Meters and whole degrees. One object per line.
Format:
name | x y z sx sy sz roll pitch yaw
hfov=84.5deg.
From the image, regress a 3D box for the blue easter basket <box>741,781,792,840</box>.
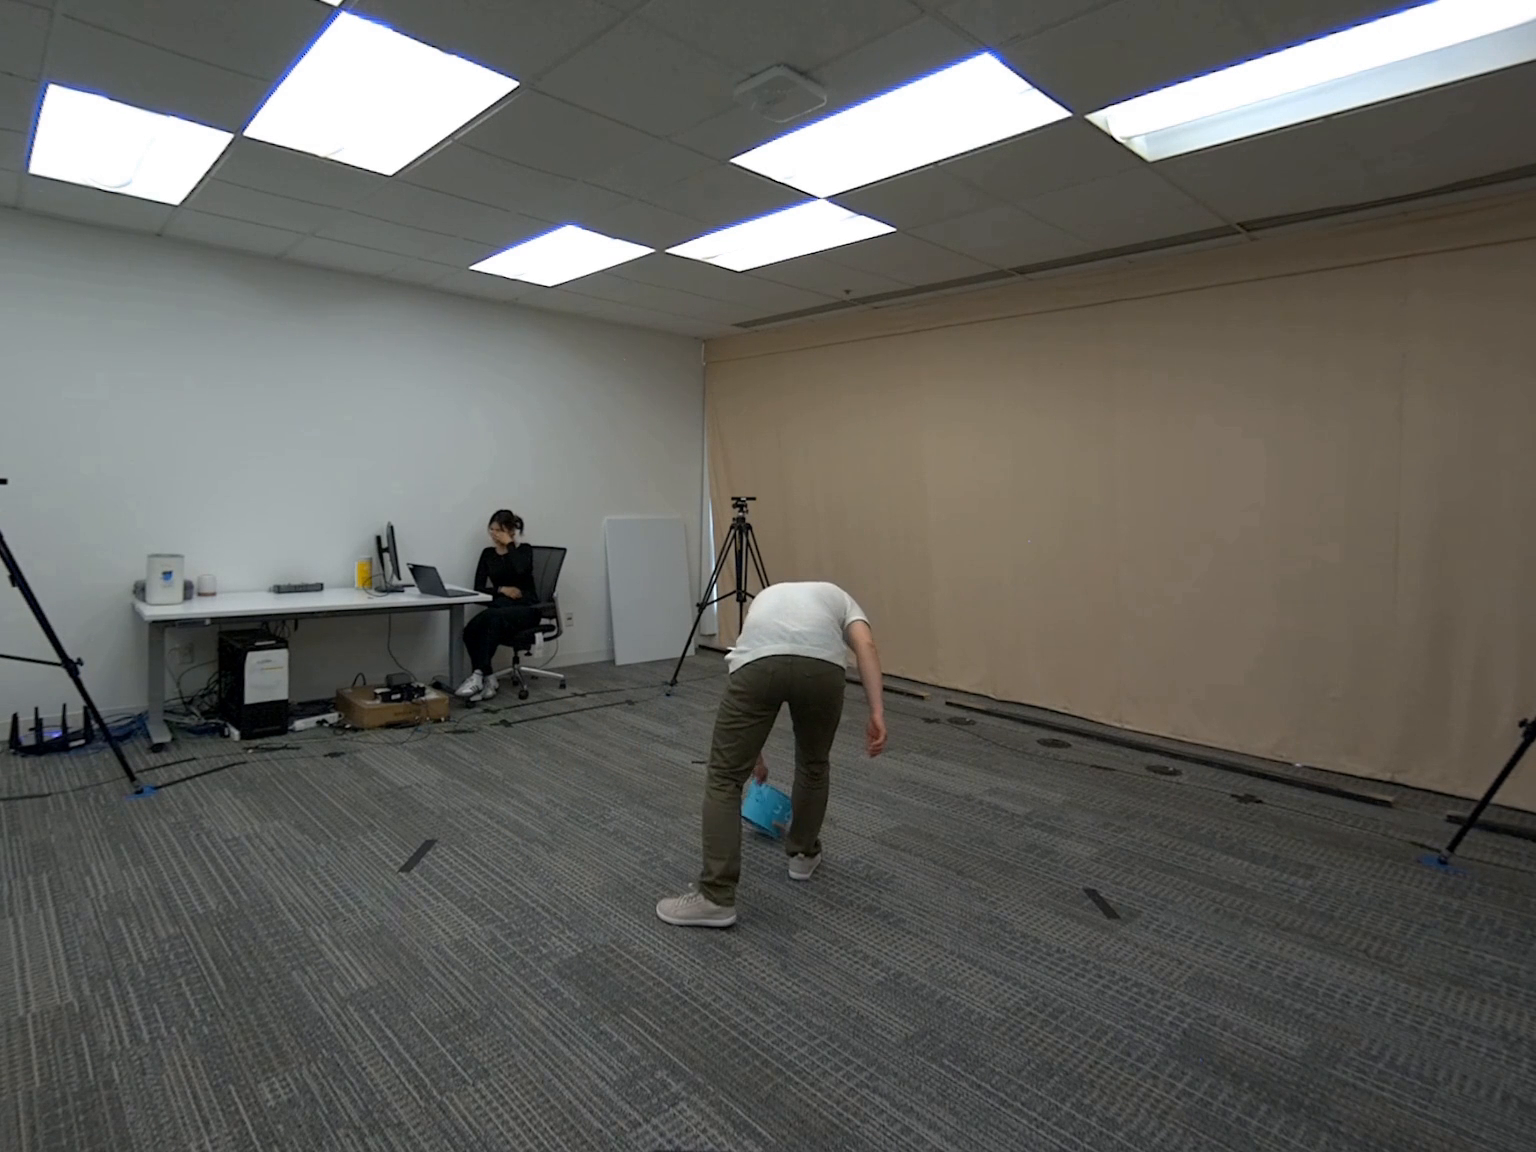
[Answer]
blue easter basket | -0.013 0.960 3.474 0.246 0.156 0.240 27 -17 7
